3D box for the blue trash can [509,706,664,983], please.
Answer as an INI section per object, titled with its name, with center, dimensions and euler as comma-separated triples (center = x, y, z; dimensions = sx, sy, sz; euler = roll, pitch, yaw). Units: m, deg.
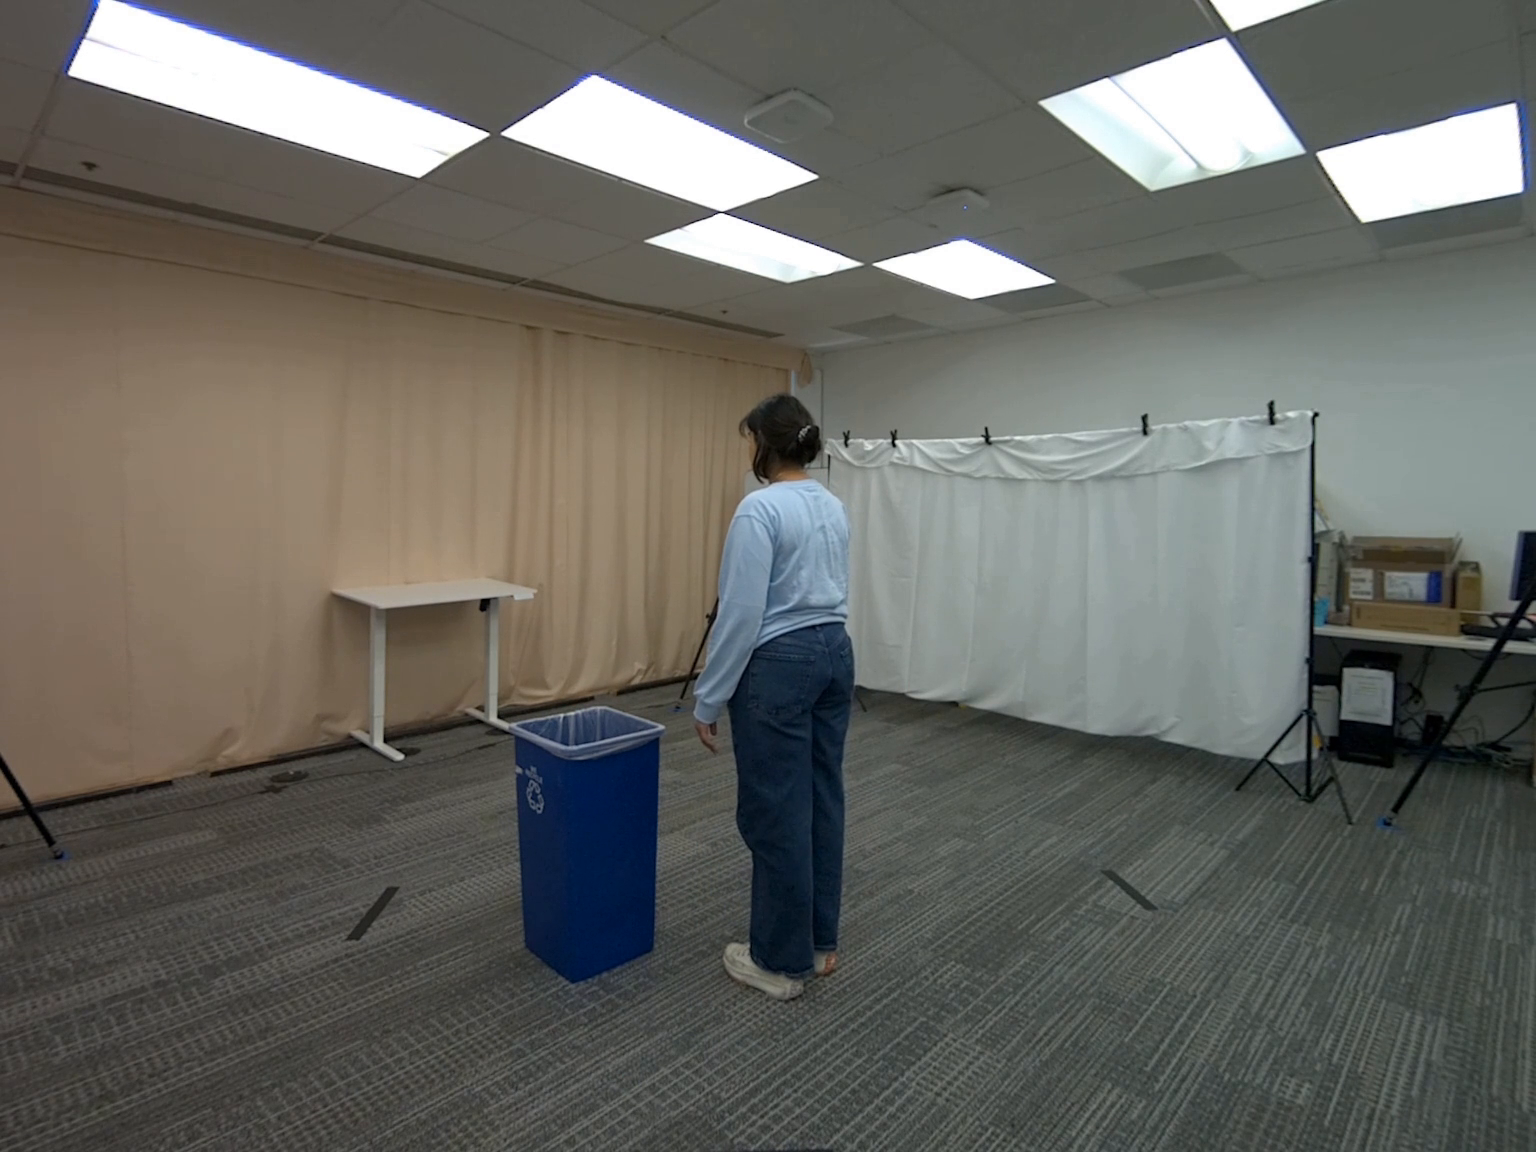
[blue trash can]
center = -0.556, 0.821, 2.637
dimensions = 0.366, 0.712, 0.386
euler = -3, 5, -44
